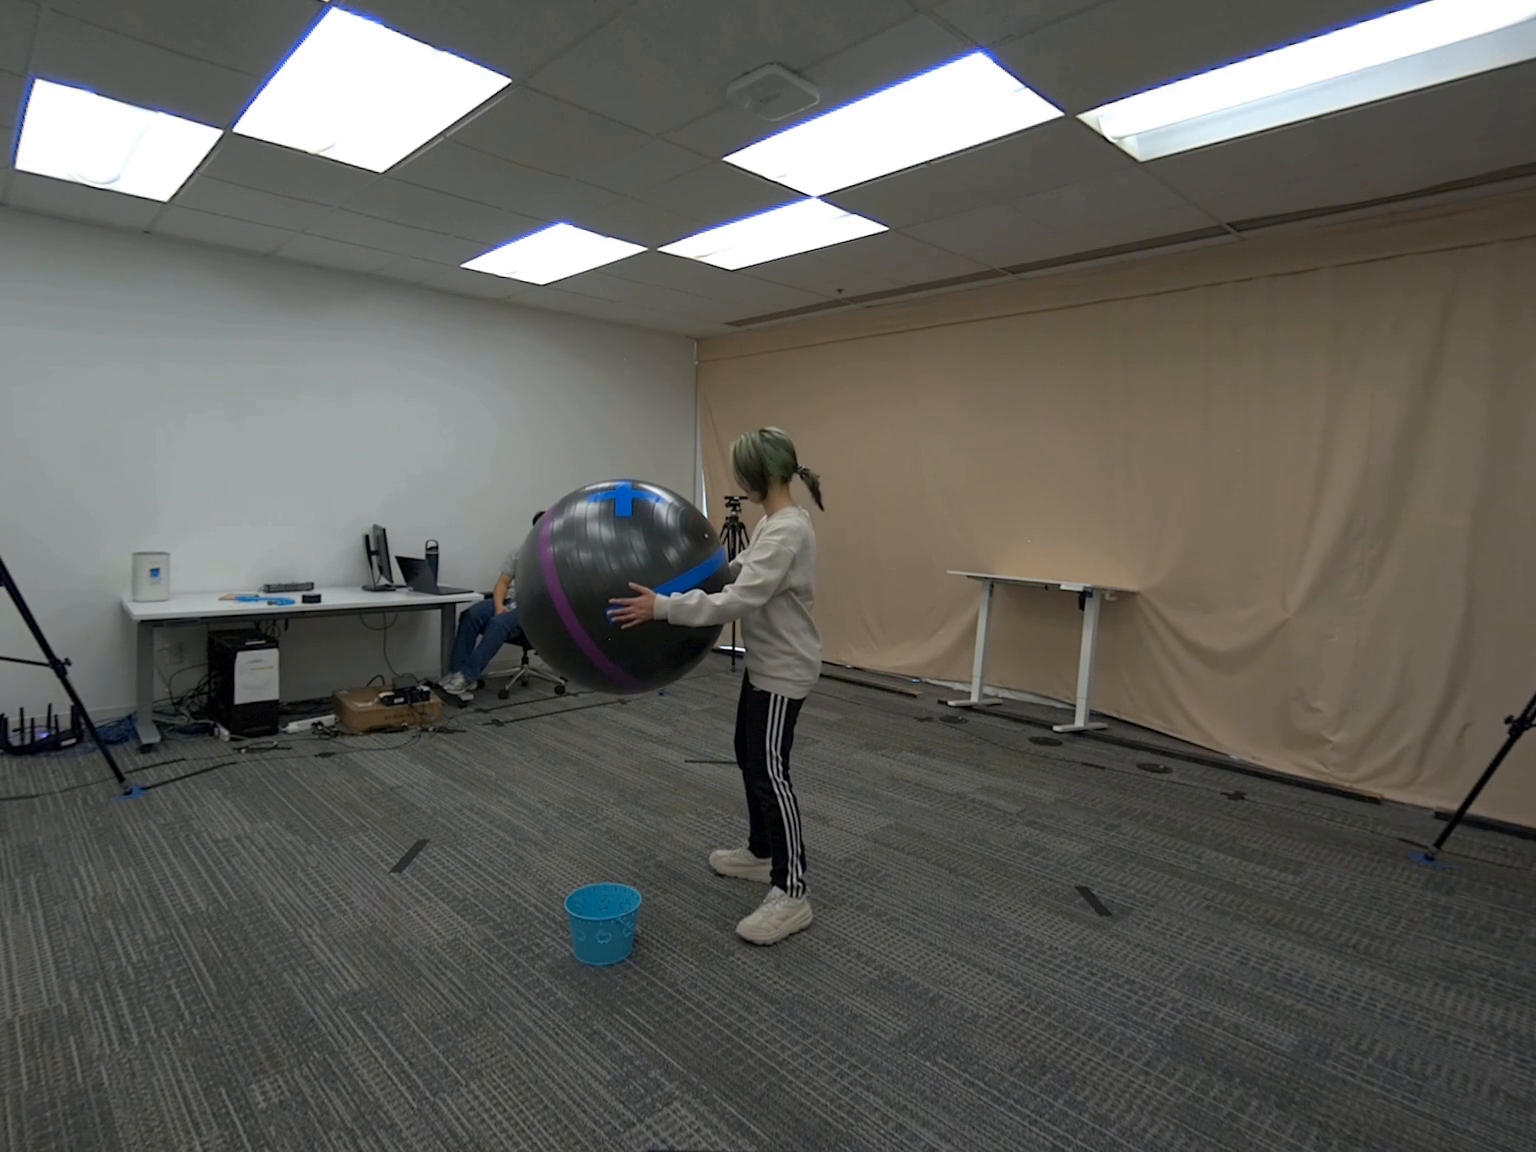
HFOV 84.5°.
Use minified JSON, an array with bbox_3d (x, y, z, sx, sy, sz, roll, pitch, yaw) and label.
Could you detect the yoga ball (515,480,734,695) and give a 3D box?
[{"bbox_3d":[-0.514,0.047,2.984,0.757,0.756,0.761,1,4,-1],"label":"yoga ball"}]
